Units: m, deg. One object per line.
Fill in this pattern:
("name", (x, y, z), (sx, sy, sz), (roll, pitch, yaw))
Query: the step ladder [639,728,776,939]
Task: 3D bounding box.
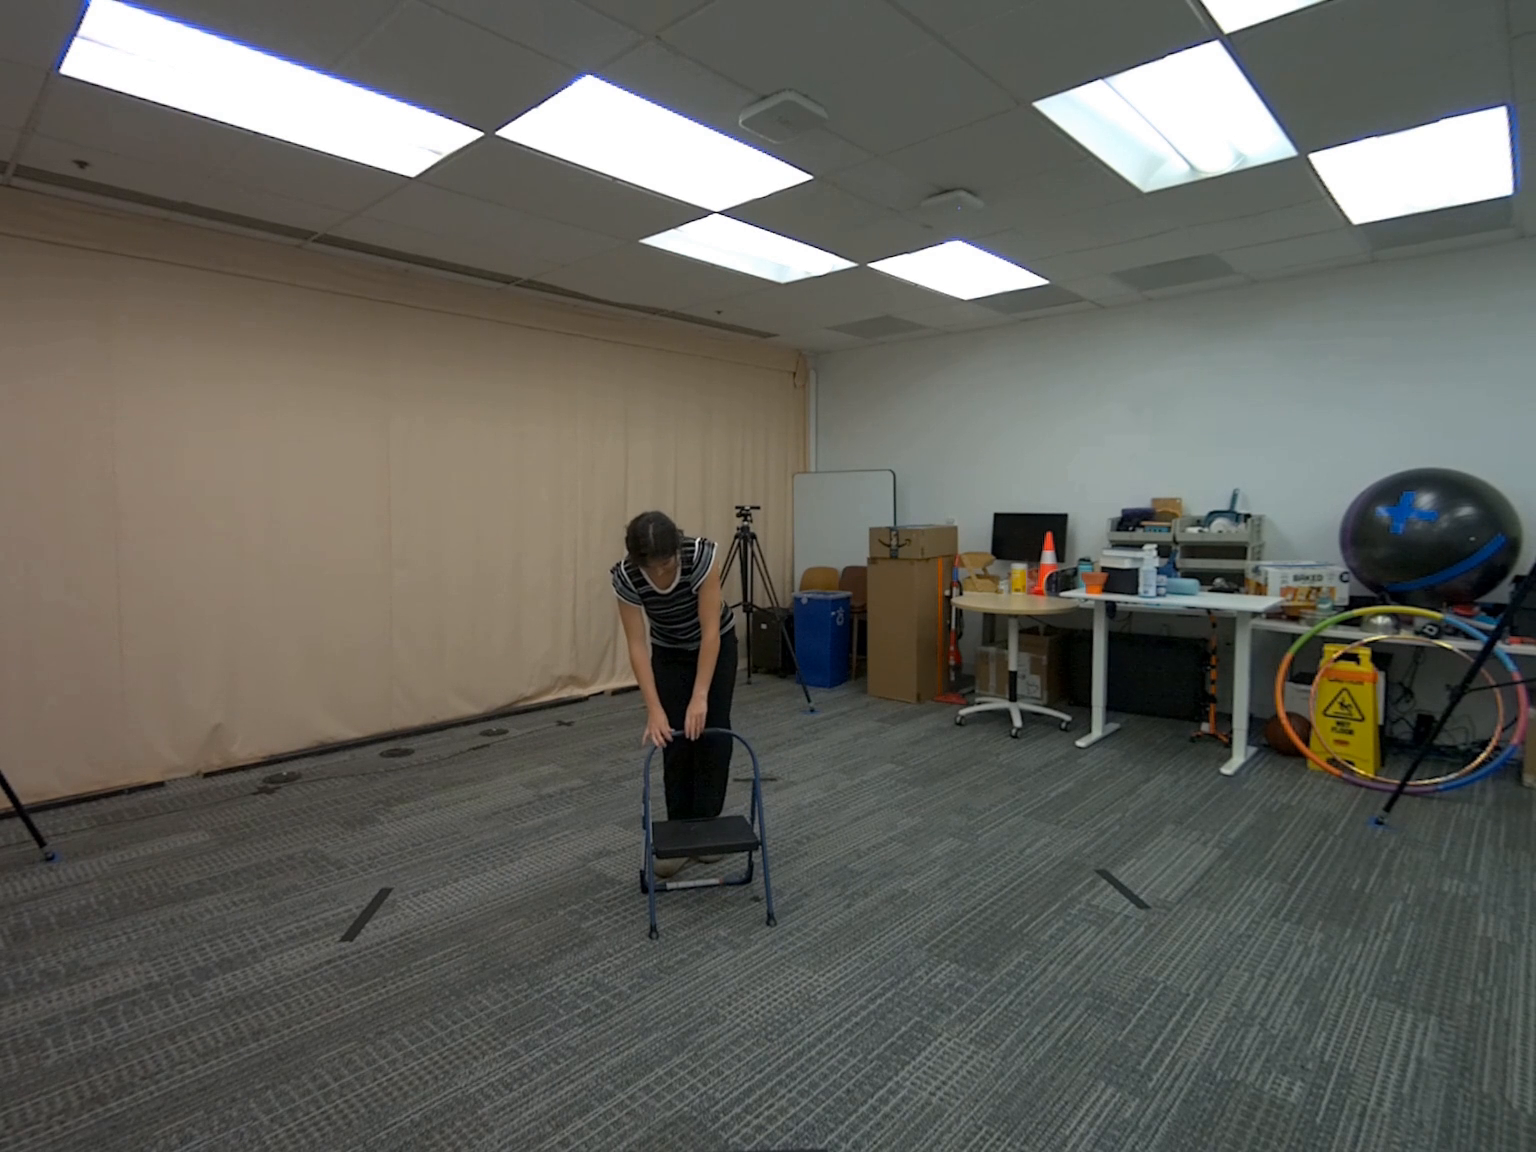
("step ladder", (-0.217, 0.851, 2.913), (0.425, 0.605, 0.355), (-1, 3, -13))
